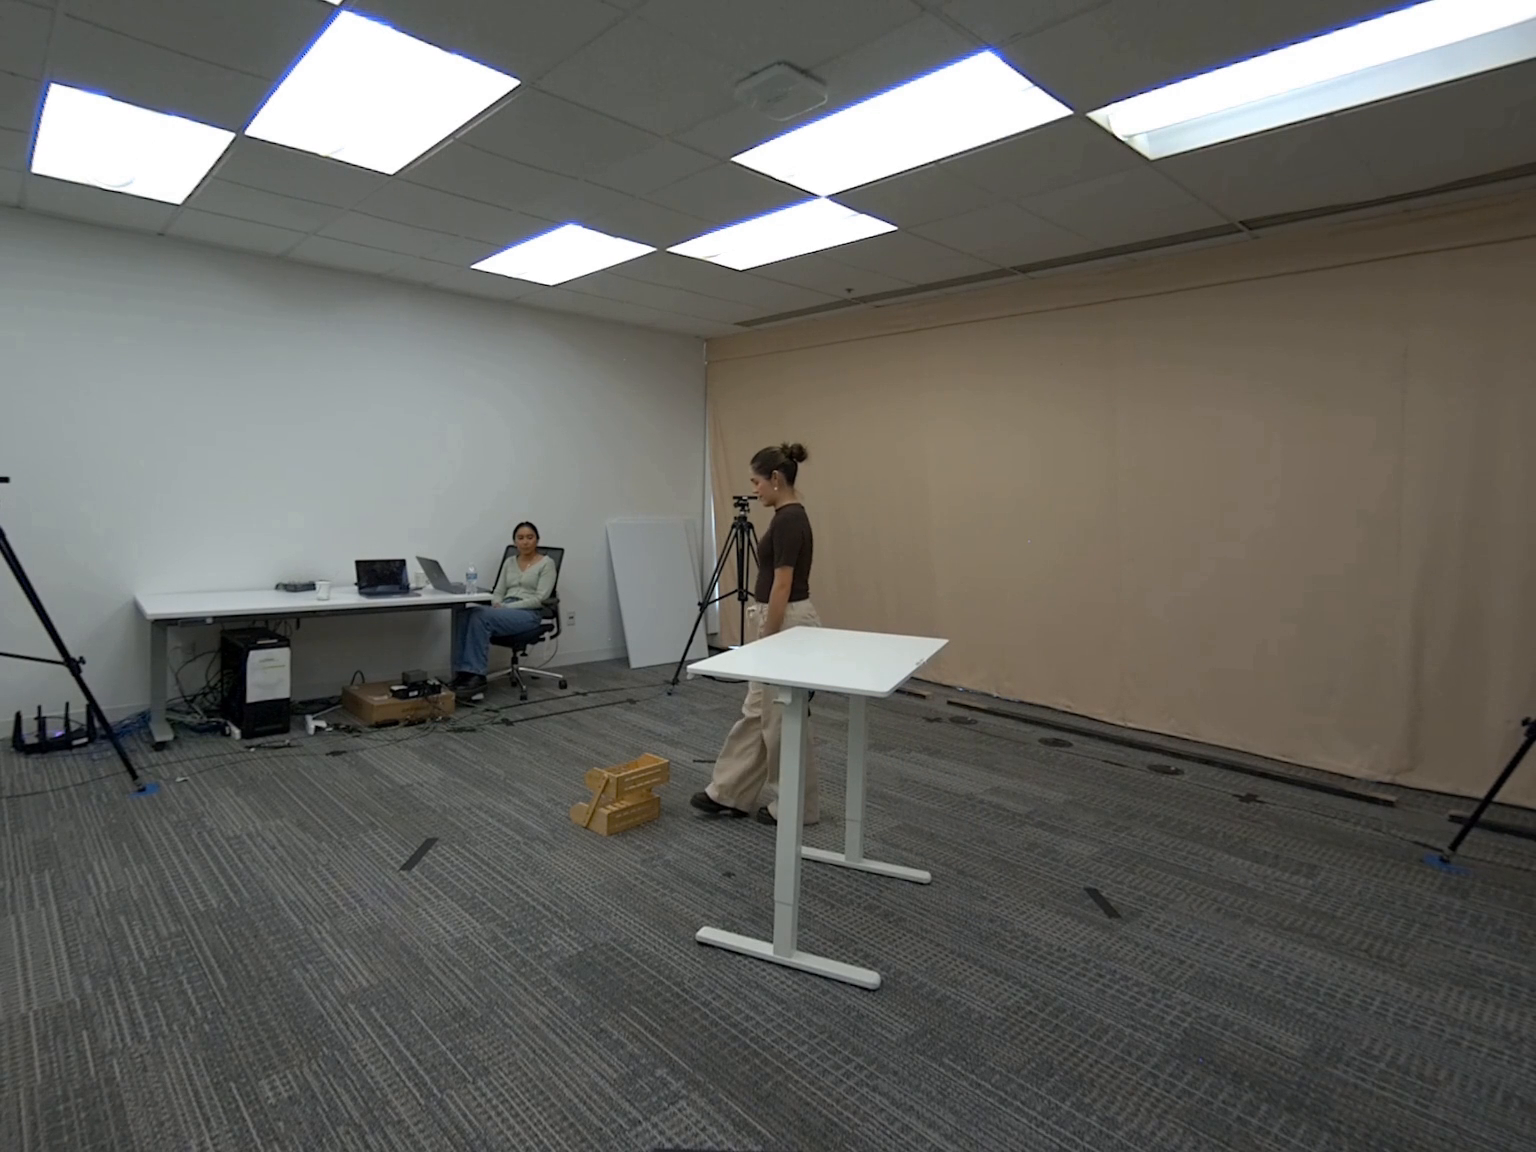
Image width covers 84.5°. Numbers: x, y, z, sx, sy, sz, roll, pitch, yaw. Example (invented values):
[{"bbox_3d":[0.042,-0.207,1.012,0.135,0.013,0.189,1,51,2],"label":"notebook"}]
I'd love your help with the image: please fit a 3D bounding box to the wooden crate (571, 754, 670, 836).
[{"bbox_3d":[-0.649,0.915,3.602,0.310,0.272,0.317,6,5,40],"label":"wooden crate"}]
